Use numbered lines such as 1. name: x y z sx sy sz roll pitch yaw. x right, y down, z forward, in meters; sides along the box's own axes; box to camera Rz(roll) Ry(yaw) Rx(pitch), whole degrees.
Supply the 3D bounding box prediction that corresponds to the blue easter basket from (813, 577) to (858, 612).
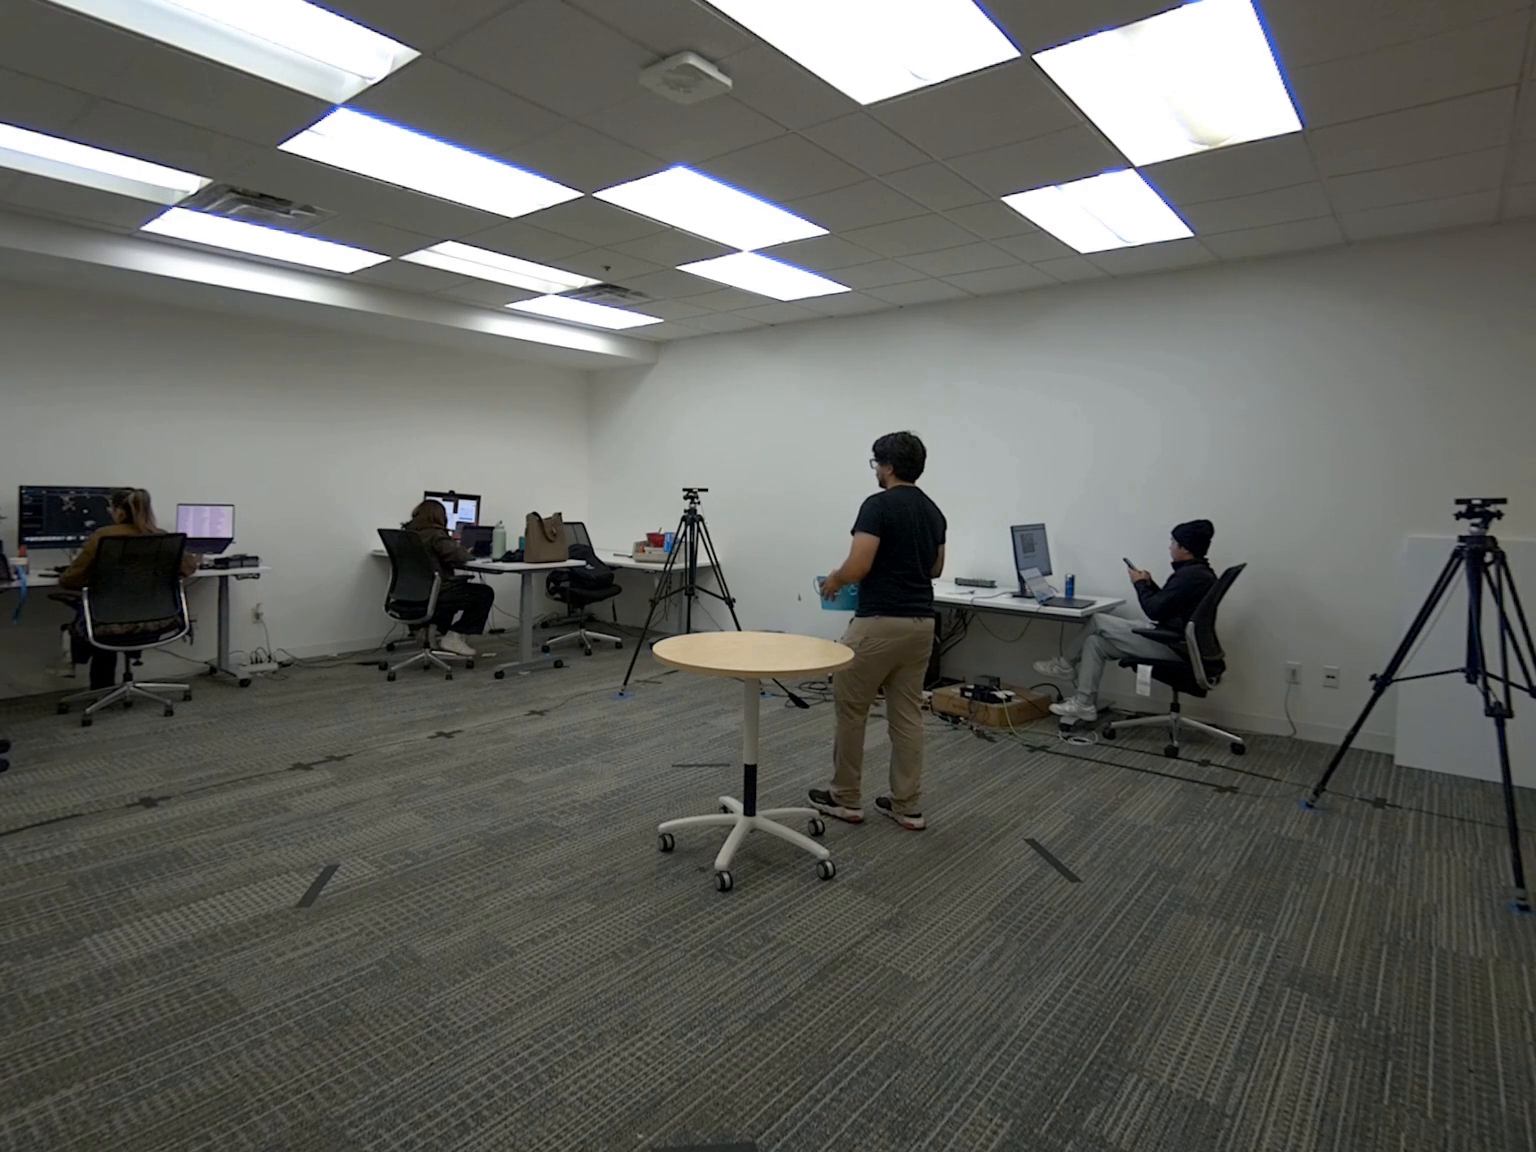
1. blue easter basket: 0.332 0.074 3.880 0.243 0.156 0.244 4 0 -2
